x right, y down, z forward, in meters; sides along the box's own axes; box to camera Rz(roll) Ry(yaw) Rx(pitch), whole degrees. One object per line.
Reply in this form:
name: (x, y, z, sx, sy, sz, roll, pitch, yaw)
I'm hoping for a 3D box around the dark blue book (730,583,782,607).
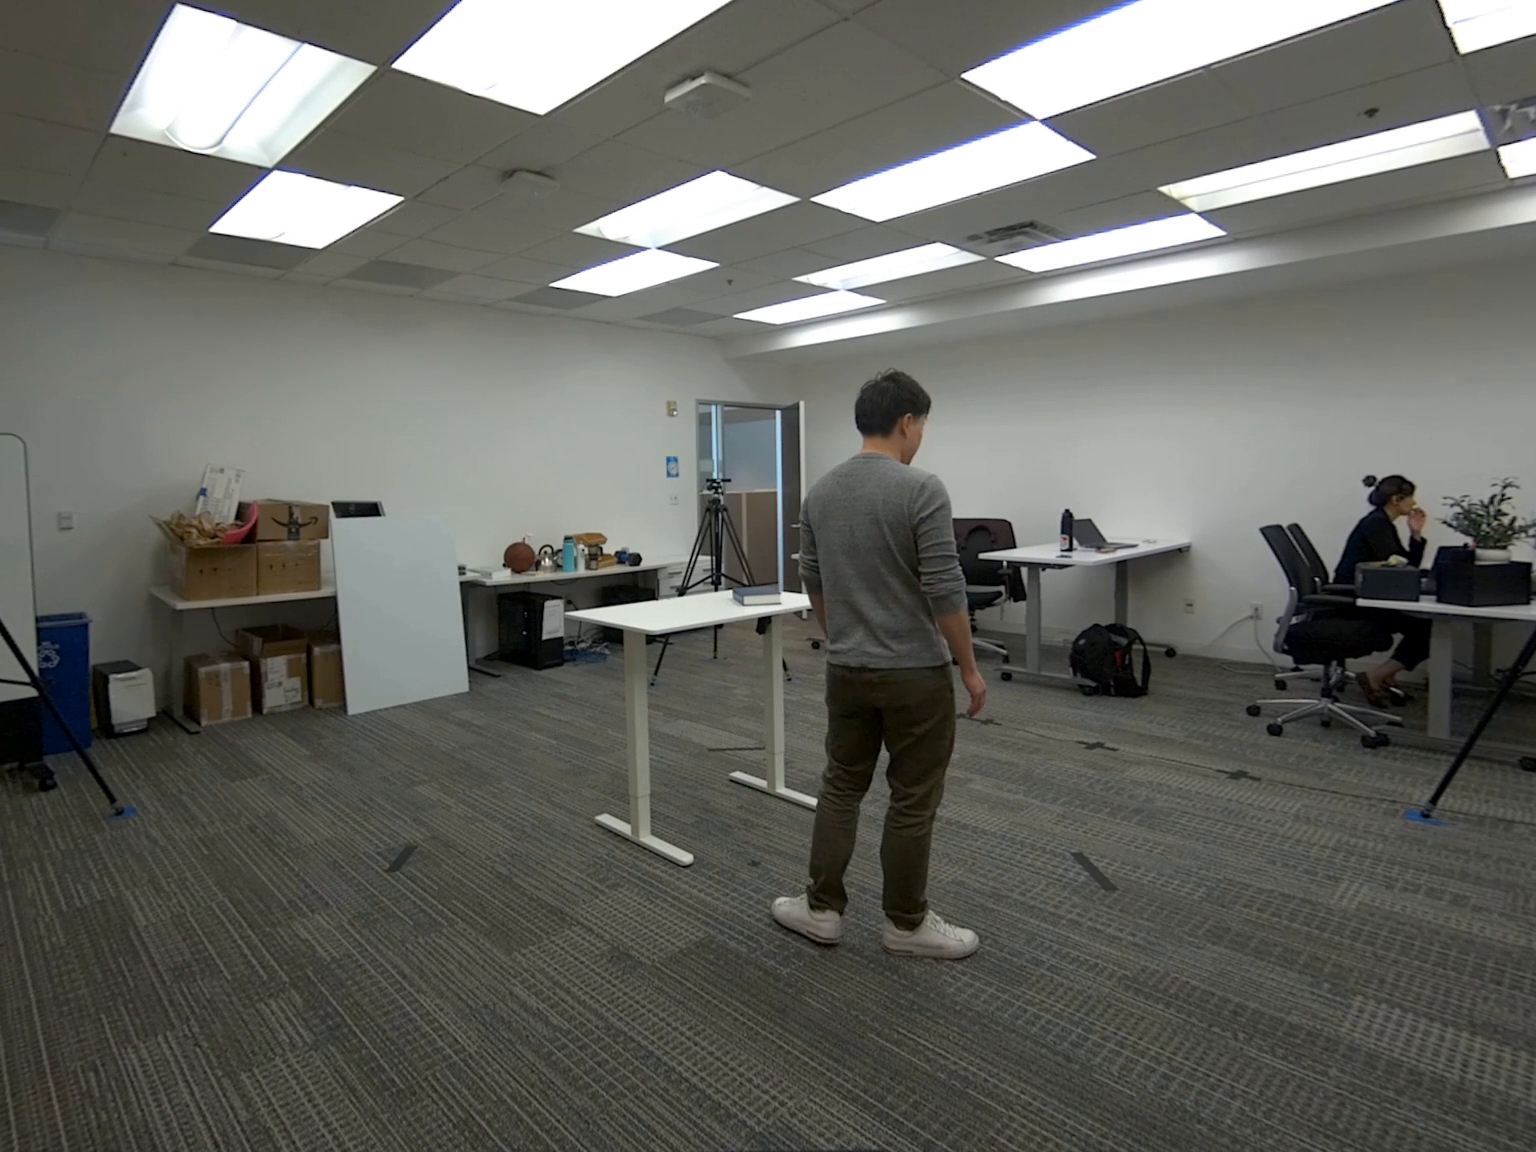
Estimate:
dark blue book: (-0.055, 0.086, 3.611, 0.162, 0.045, 0.248, -4, 6, -10)
